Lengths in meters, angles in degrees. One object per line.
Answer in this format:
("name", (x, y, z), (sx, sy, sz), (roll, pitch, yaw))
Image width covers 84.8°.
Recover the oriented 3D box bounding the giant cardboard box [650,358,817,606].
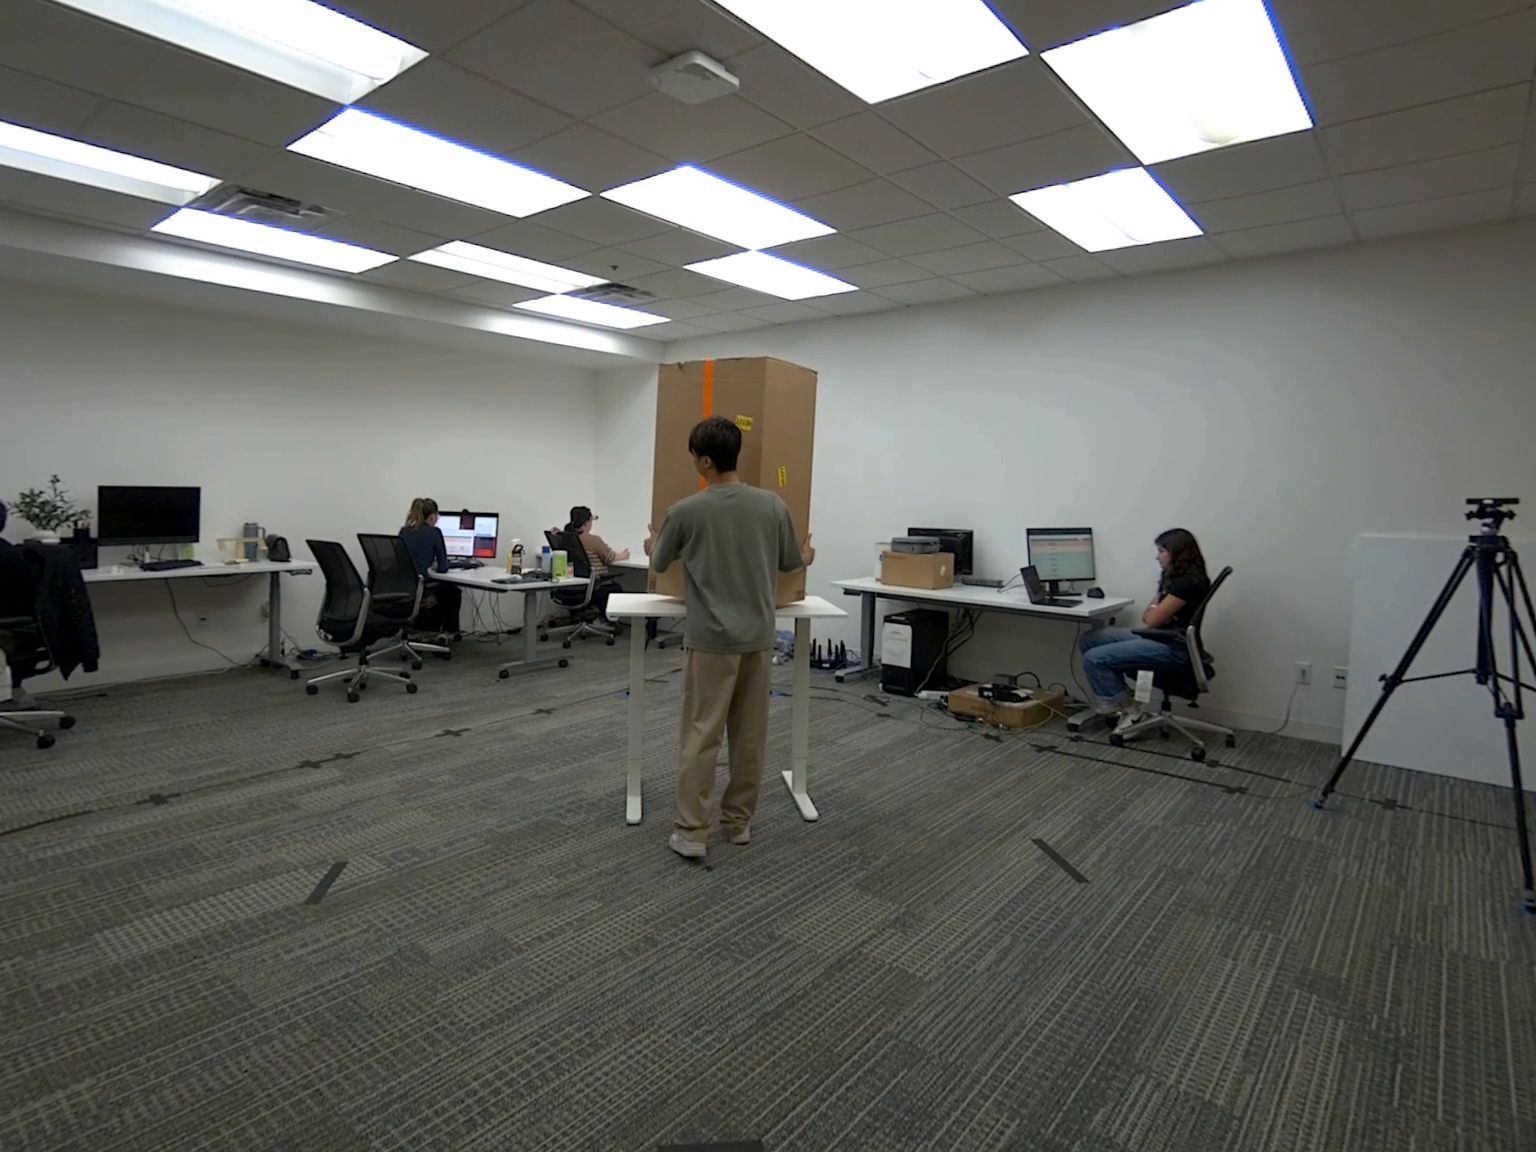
("giant cardboard box", (-0.171, -0.416, 3.769), (0.596, 1.023, 0.414), (5, 4, 34))
